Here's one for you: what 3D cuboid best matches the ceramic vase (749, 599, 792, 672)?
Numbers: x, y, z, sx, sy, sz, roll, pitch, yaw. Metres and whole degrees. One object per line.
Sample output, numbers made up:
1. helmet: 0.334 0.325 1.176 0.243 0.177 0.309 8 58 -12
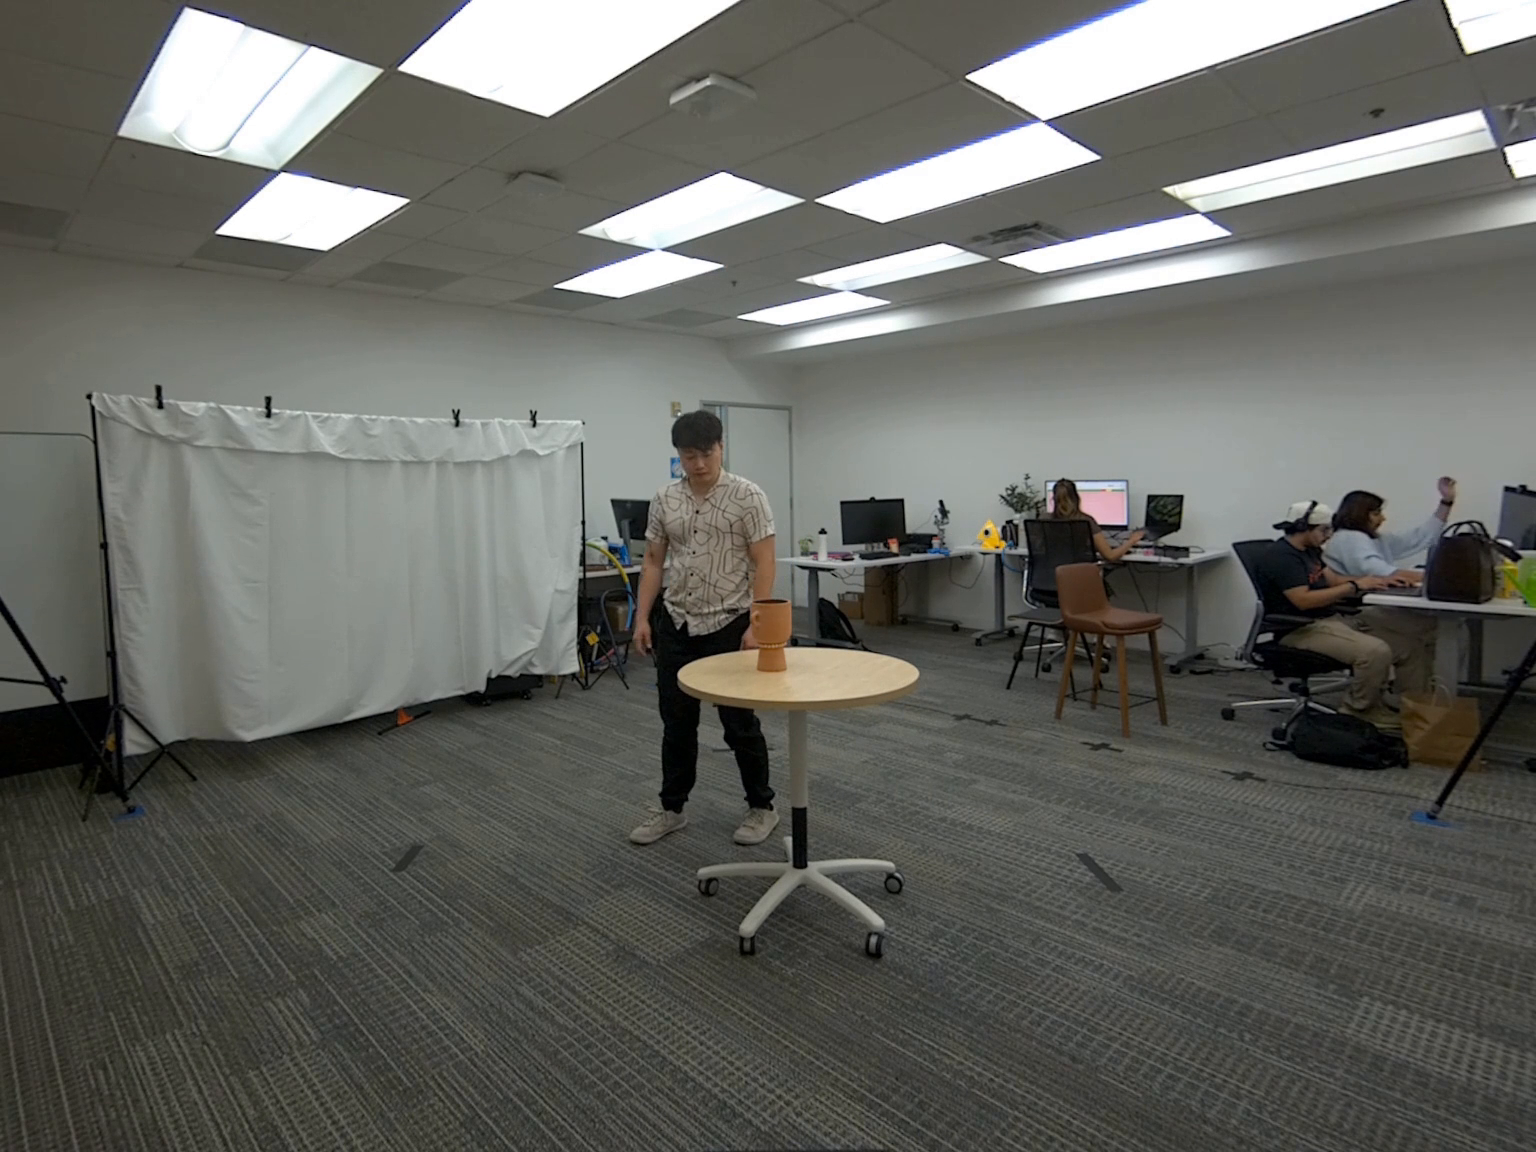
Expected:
1. ceramic vase: 0.010 0.197 2.770 0.157 0.219 0.136 -2 4 -11
